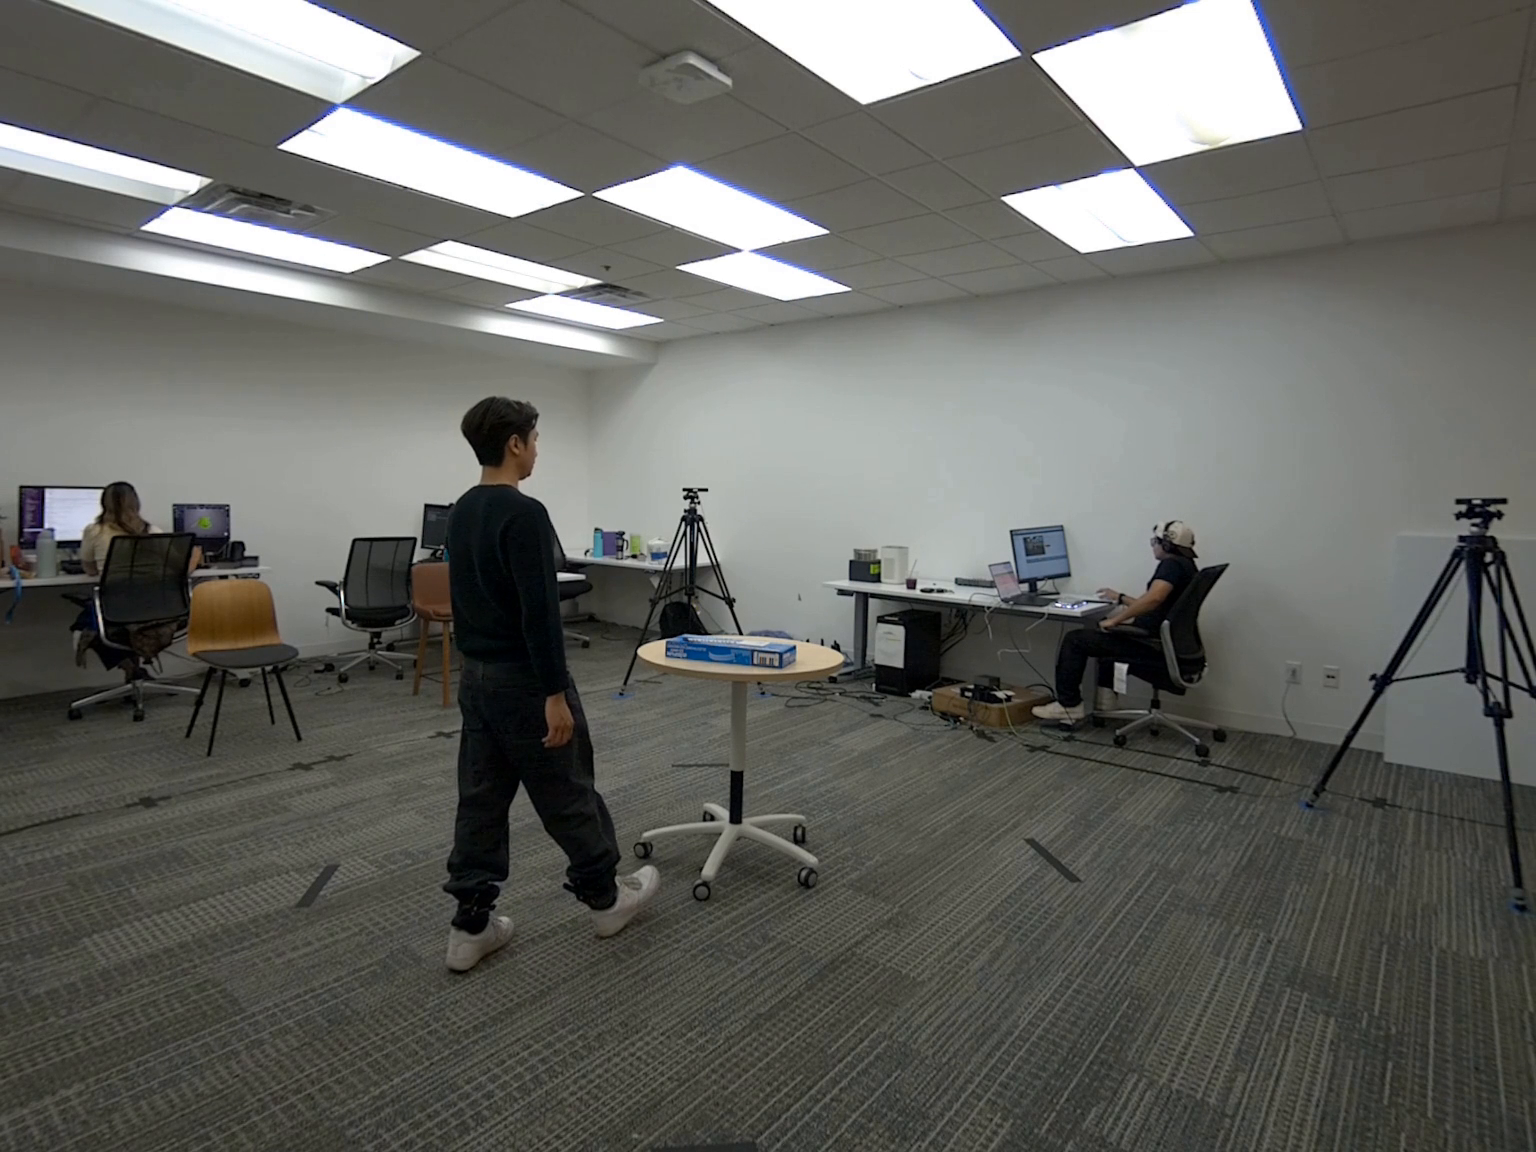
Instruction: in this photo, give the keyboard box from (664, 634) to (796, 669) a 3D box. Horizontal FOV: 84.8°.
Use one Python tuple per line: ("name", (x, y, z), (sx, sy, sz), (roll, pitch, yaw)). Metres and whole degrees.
("keyboard box", (-0.147, 0.262, 3.040), (0.447, 0.059, 0.173), (3, 6, 21))
